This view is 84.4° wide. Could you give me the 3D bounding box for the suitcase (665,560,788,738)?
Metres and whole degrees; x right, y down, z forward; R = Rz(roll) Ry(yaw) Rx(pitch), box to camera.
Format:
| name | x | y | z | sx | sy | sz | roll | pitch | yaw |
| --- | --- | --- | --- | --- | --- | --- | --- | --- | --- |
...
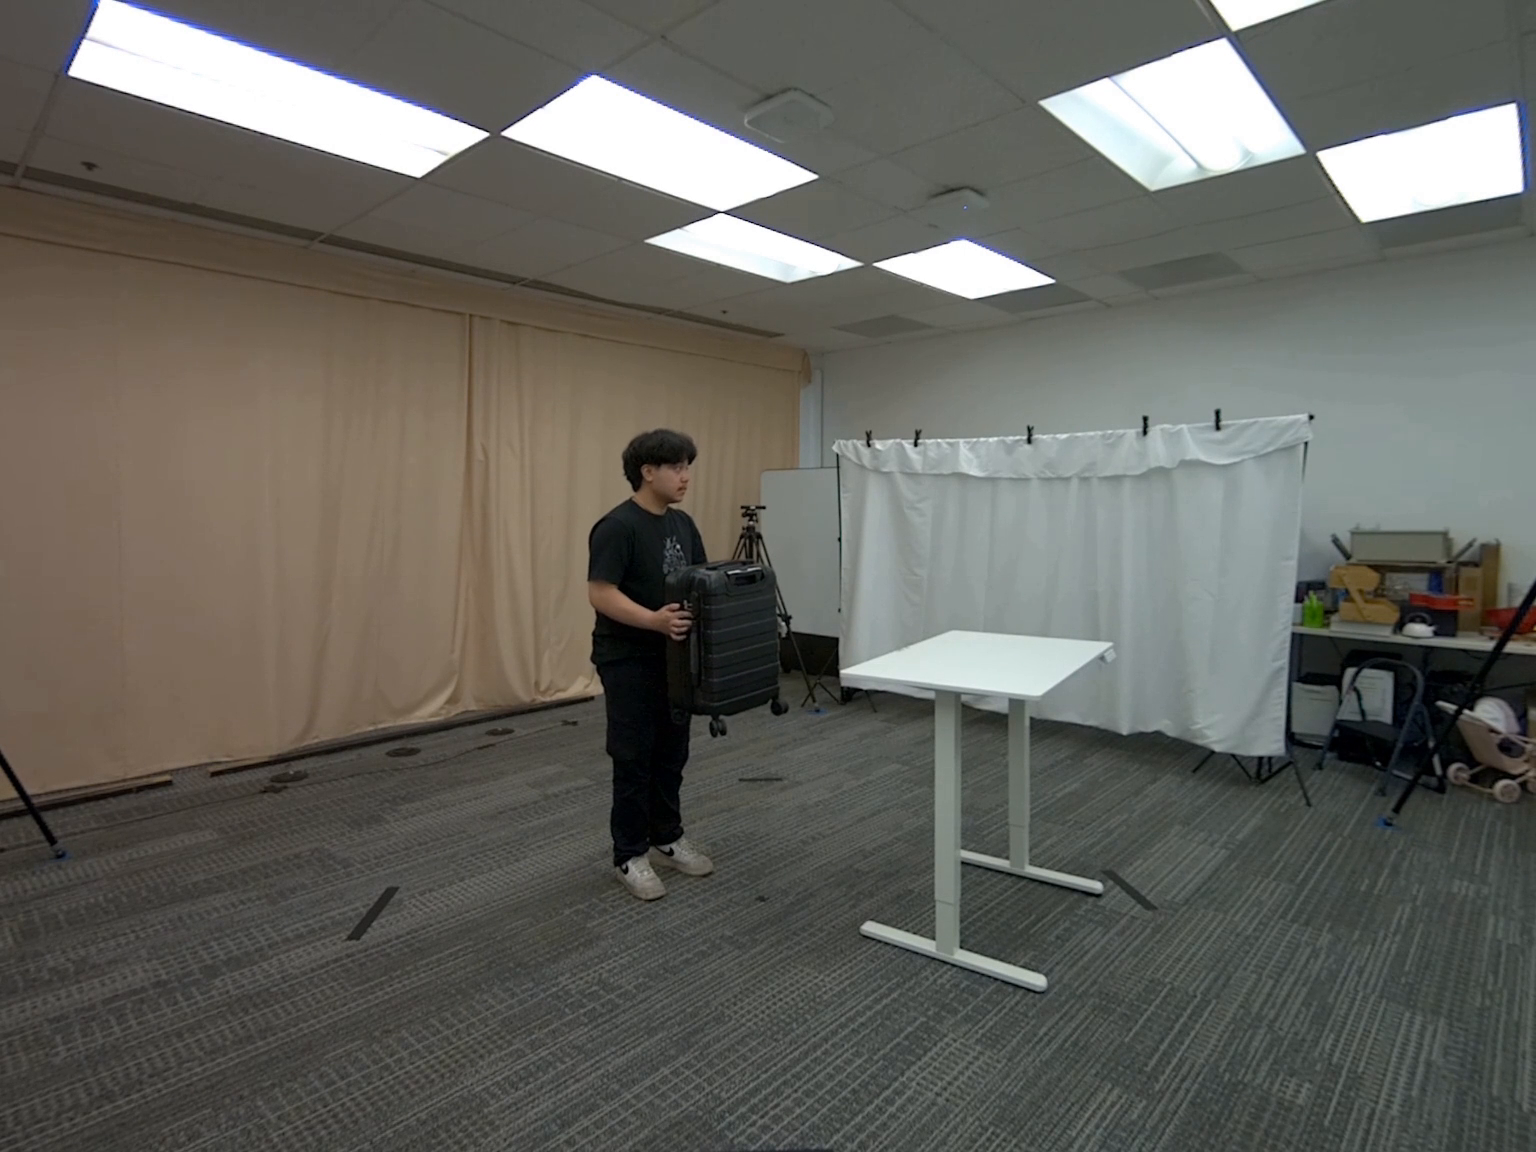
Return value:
| name | x | y | z | sx | sy | sz | roll | pitch | yaw |
| --- | --- | --- | --- | --- | --- | --- | --- | --- | --- |
| suitcase | -0.148 | 0.225 | 2.911 | 0.257 | 0.547 | 0.365 | 4 | 9 | 42 |
